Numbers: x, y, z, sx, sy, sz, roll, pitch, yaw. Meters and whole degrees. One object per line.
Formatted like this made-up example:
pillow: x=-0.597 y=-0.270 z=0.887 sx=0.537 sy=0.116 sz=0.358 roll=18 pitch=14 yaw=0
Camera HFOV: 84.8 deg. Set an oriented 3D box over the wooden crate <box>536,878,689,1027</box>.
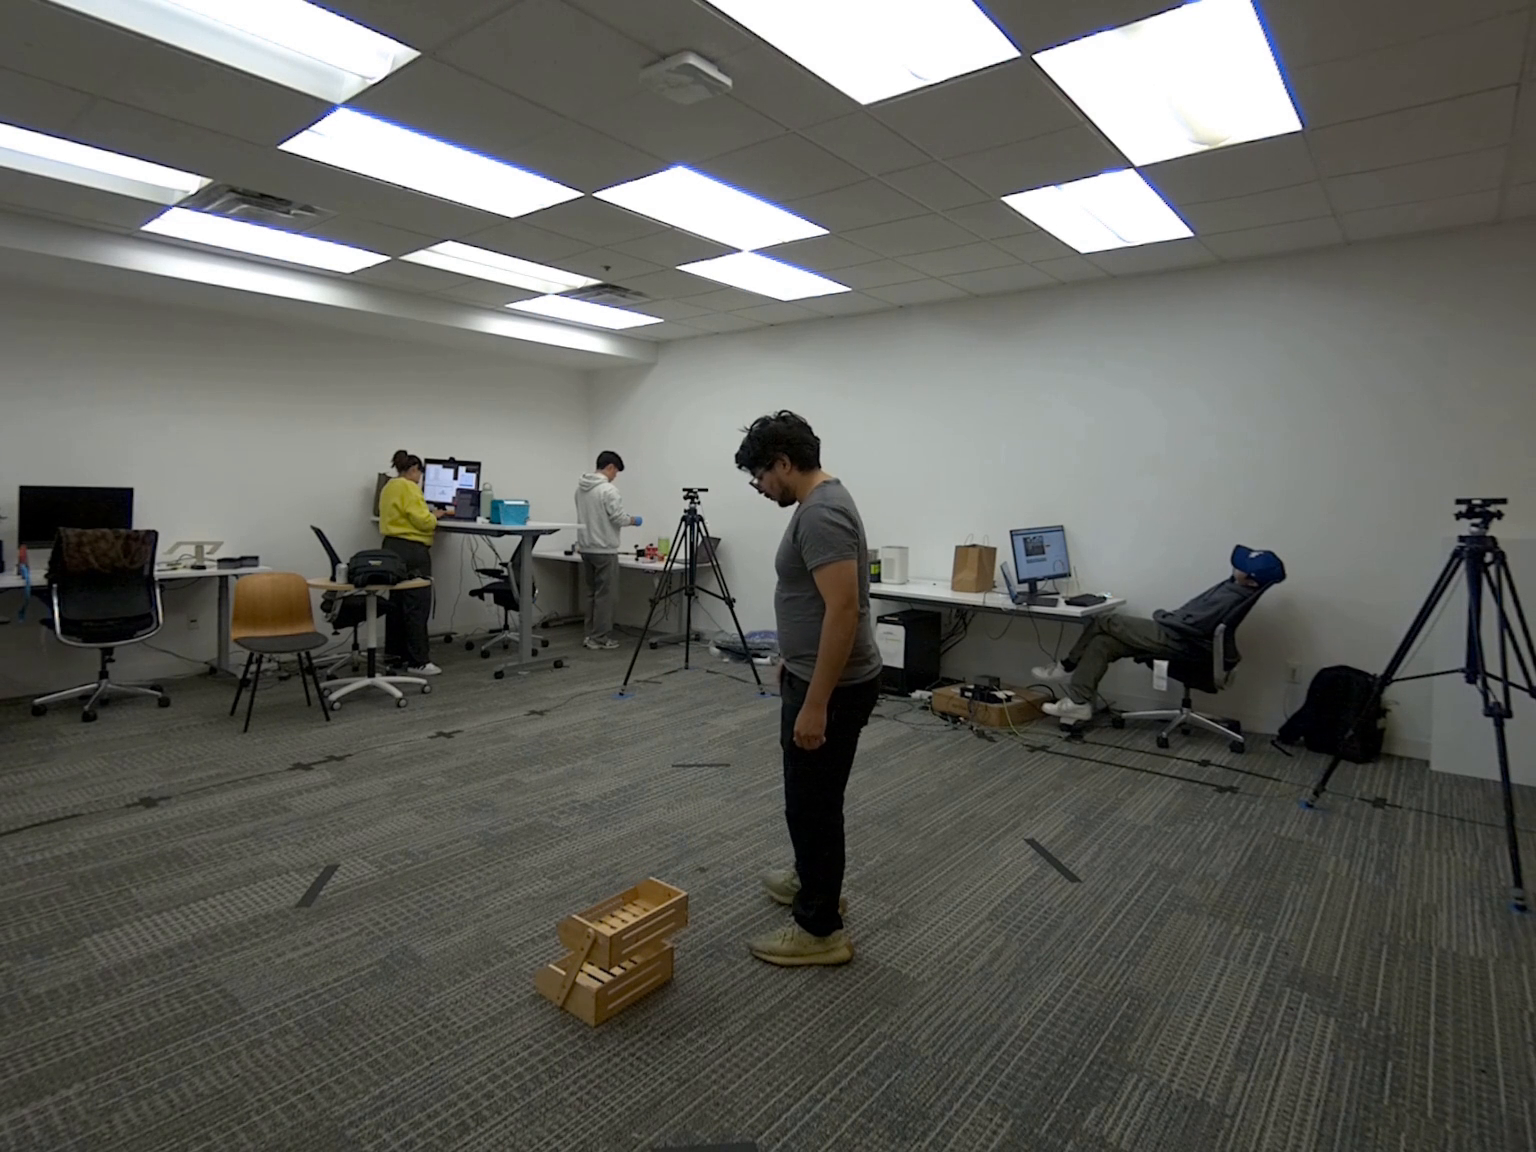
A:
wooden crate: x=-0.443 y=1.007 z=2.355 sx=0.312 sy=0.272 sz=0.315 roll=5 pitch=6 yaw=37
